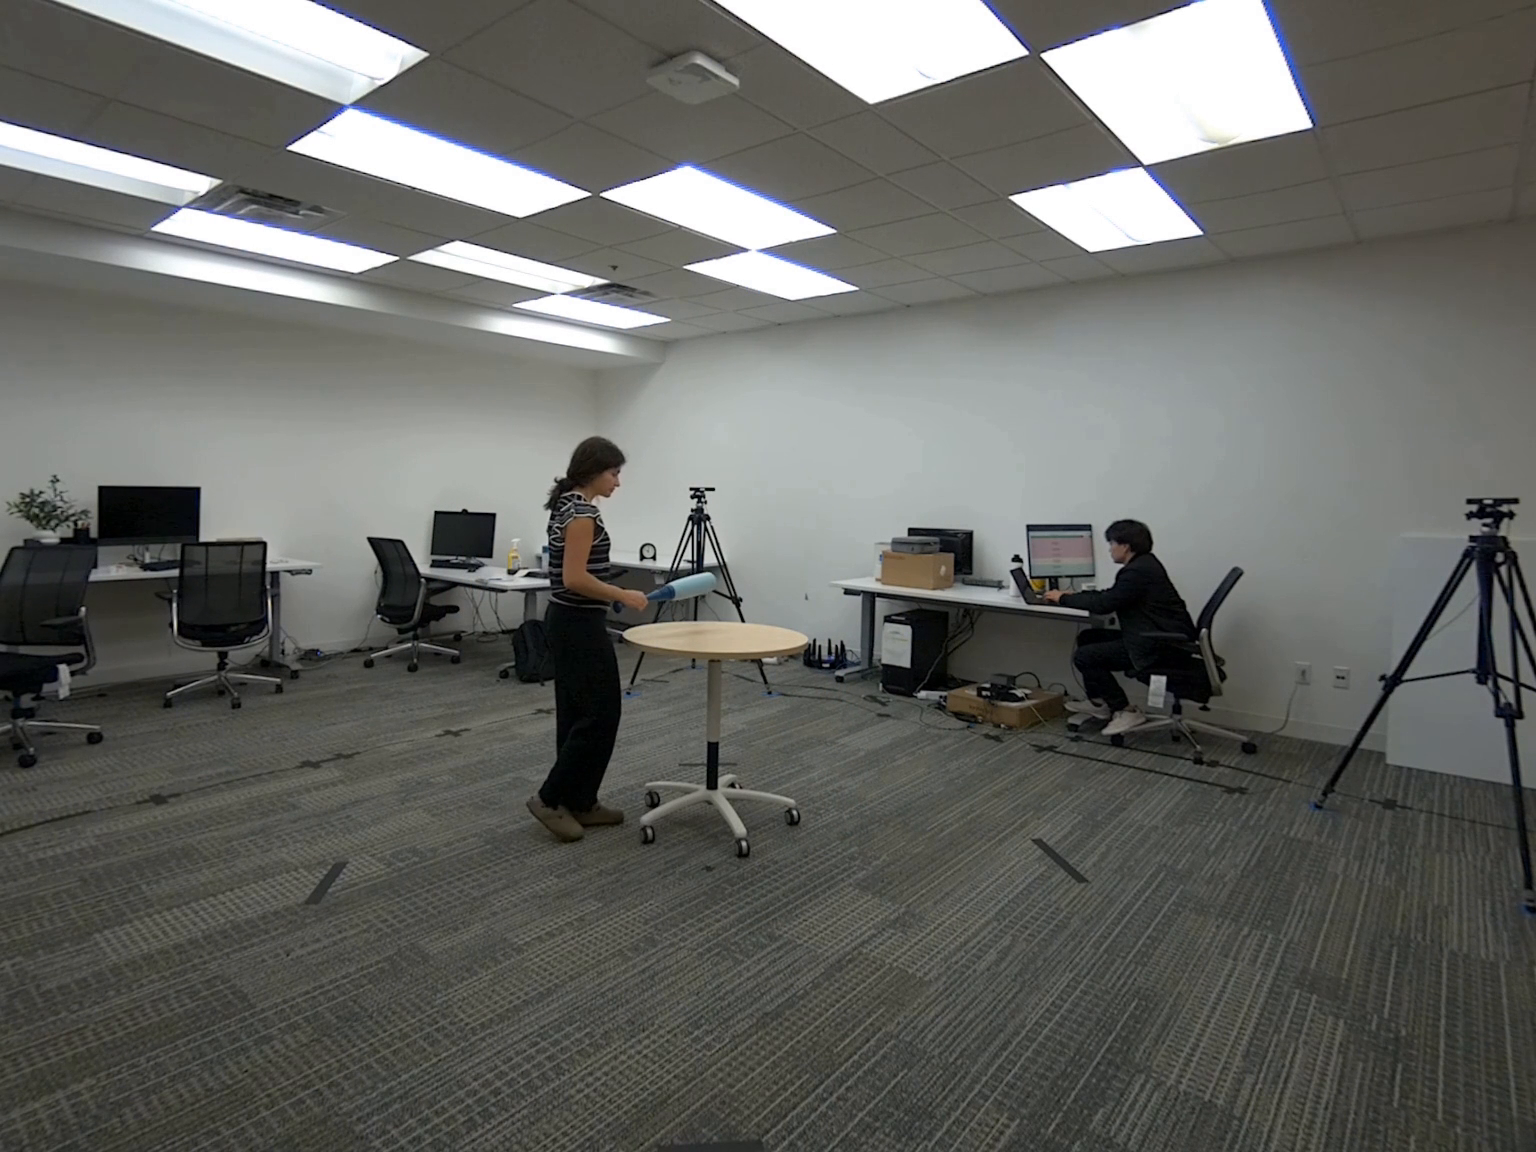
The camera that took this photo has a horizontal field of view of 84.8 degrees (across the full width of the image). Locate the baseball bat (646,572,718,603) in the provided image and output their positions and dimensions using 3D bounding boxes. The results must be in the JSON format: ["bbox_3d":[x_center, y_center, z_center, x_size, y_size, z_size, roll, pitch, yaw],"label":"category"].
[{"bbox_3d":[-0.441,0.073,3.528,0.530,0.088,0.092,-16,15,-43],"label":"baseball bat"}]
